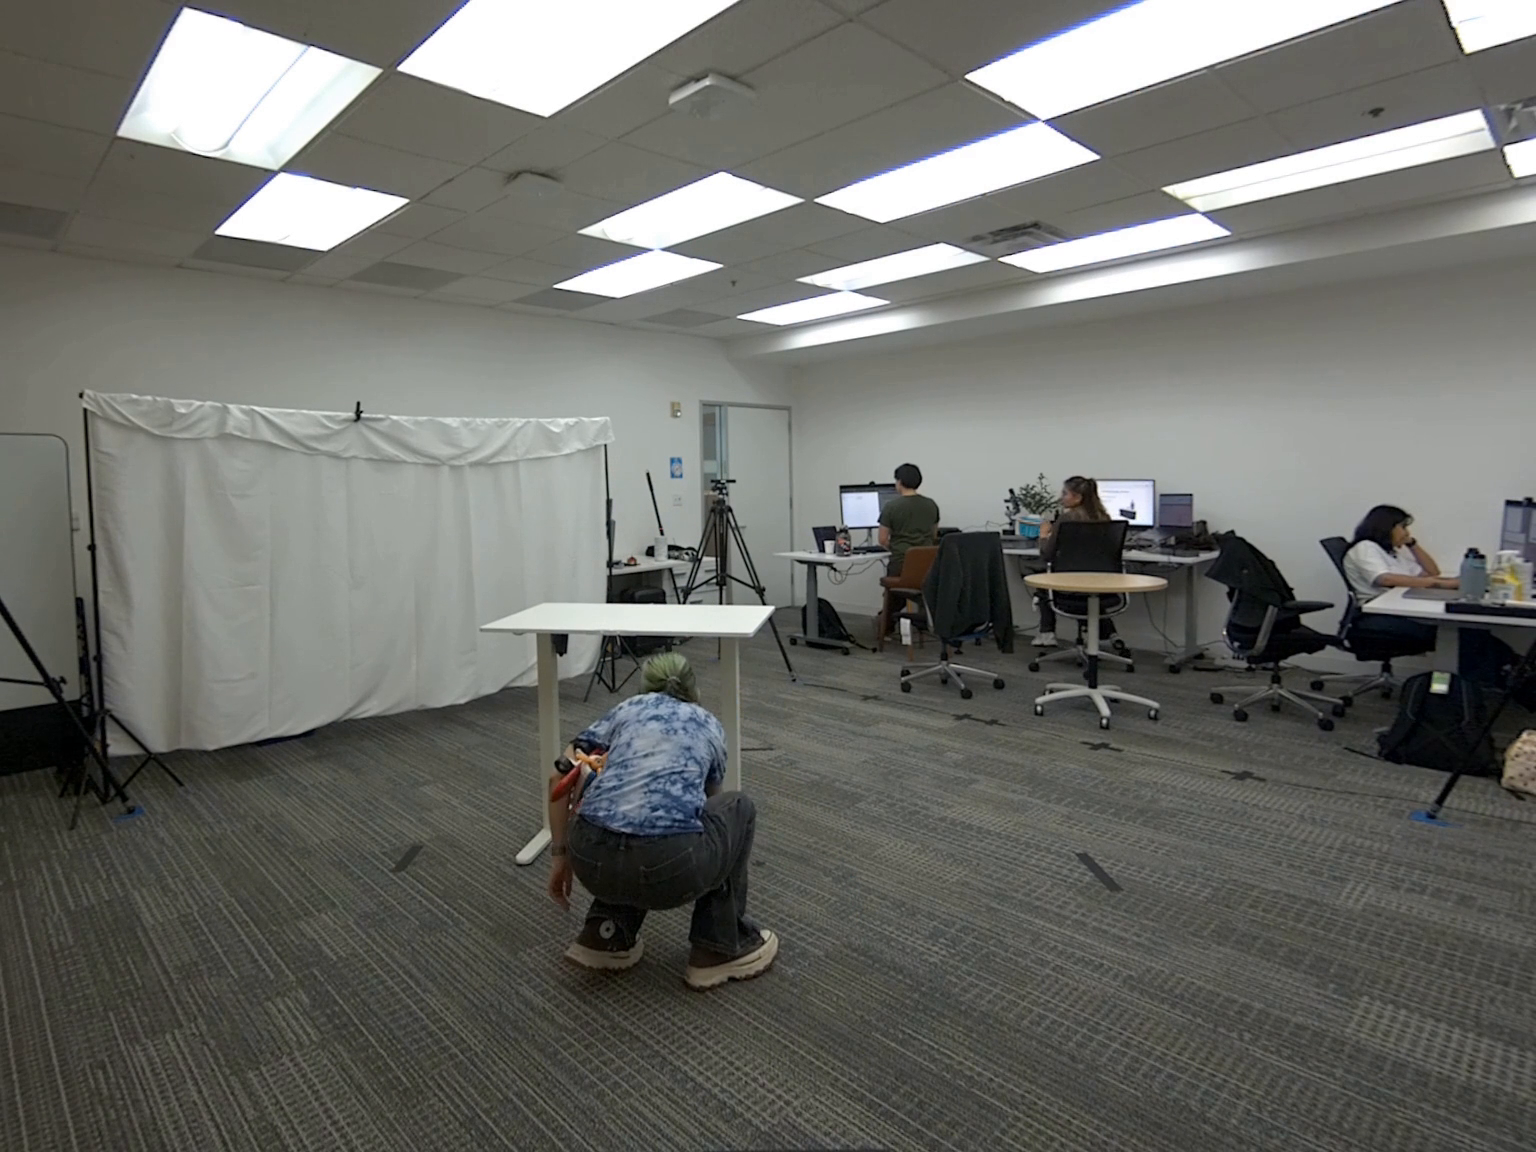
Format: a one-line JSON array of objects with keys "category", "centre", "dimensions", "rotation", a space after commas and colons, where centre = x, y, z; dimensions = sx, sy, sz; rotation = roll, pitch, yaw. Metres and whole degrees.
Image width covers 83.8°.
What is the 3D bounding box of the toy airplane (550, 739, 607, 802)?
[{"category": "toy airplane", "centre": [-0.529, 0.609, 2.543], "dimensions": [0.160, 0.252, 0.252], "rotation": [24, -28, 18]}]
